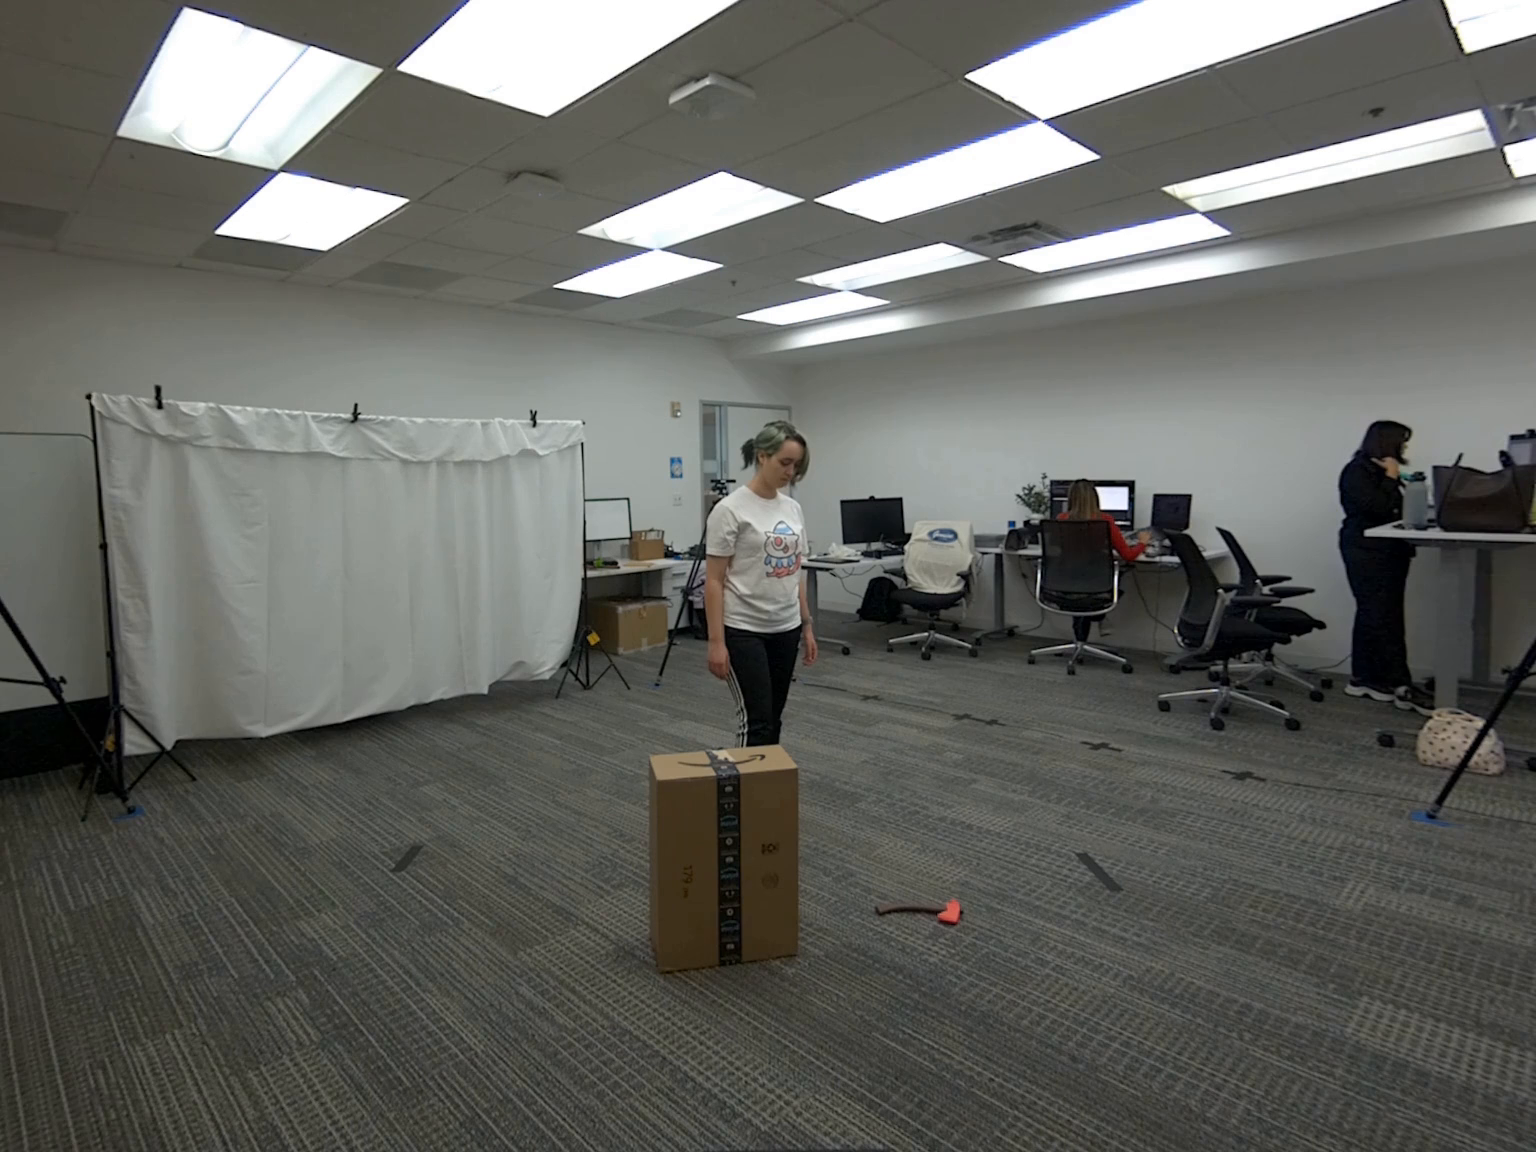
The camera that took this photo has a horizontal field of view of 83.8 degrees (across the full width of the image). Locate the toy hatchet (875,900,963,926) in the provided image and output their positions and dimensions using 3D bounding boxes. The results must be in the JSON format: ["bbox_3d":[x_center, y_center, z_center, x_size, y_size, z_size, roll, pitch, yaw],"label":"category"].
[{"bbox_3d":[0.488,1.072,2.705,0.269,0.029,0.133,-4,10,-6],"label":"toy hatchet"}]
